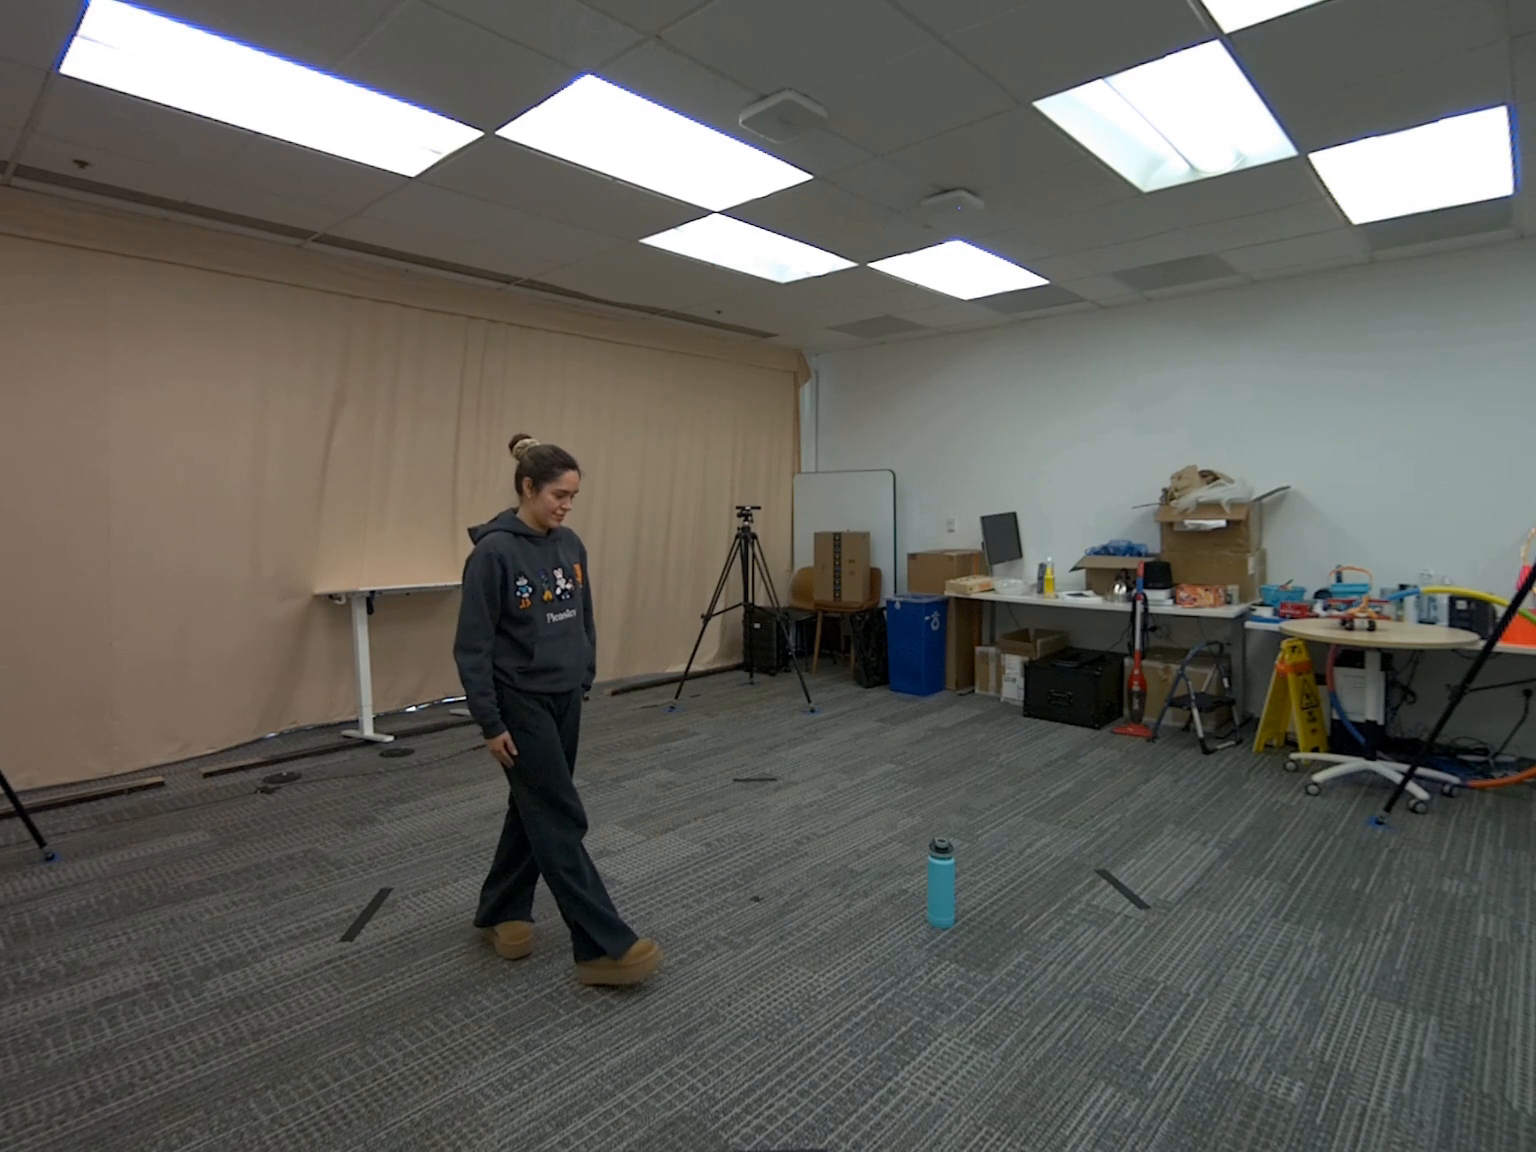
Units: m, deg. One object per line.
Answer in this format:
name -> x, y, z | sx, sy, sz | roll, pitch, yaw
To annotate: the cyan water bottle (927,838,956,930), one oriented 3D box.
cyan water bottle -> 0.601, 1.010, 2.798 | 0.092, 0.283, 0.092 | -2, 1, -2
